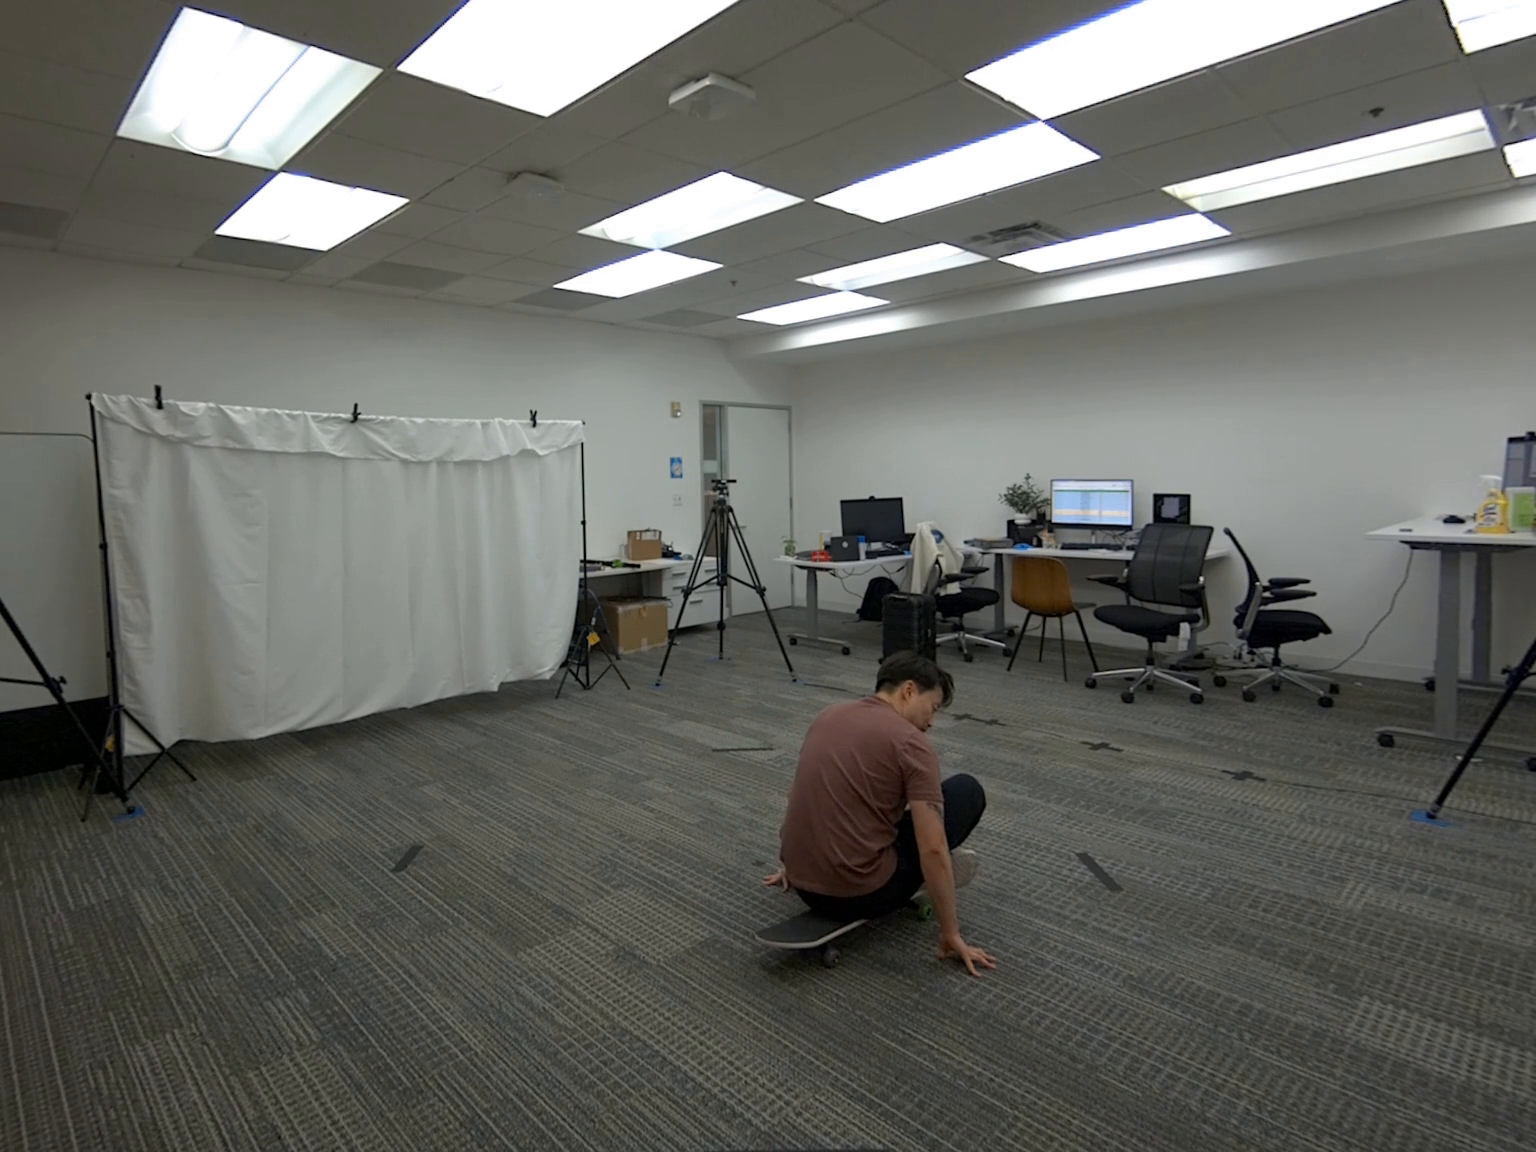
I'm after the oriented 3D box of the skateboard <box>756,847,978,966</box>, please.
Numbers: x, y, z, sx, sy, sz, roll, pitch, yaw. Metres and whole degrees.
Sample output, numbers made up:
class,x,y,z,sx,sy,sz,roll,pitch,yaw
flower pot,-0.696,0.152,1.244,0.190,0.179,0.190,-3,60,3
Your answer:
class,x,y,z,sx,sy,sz,roll,pitch,yaw
skateboard,0.314,1.041,2.616,0.768,0.110,0.197,-9,-1,-31
